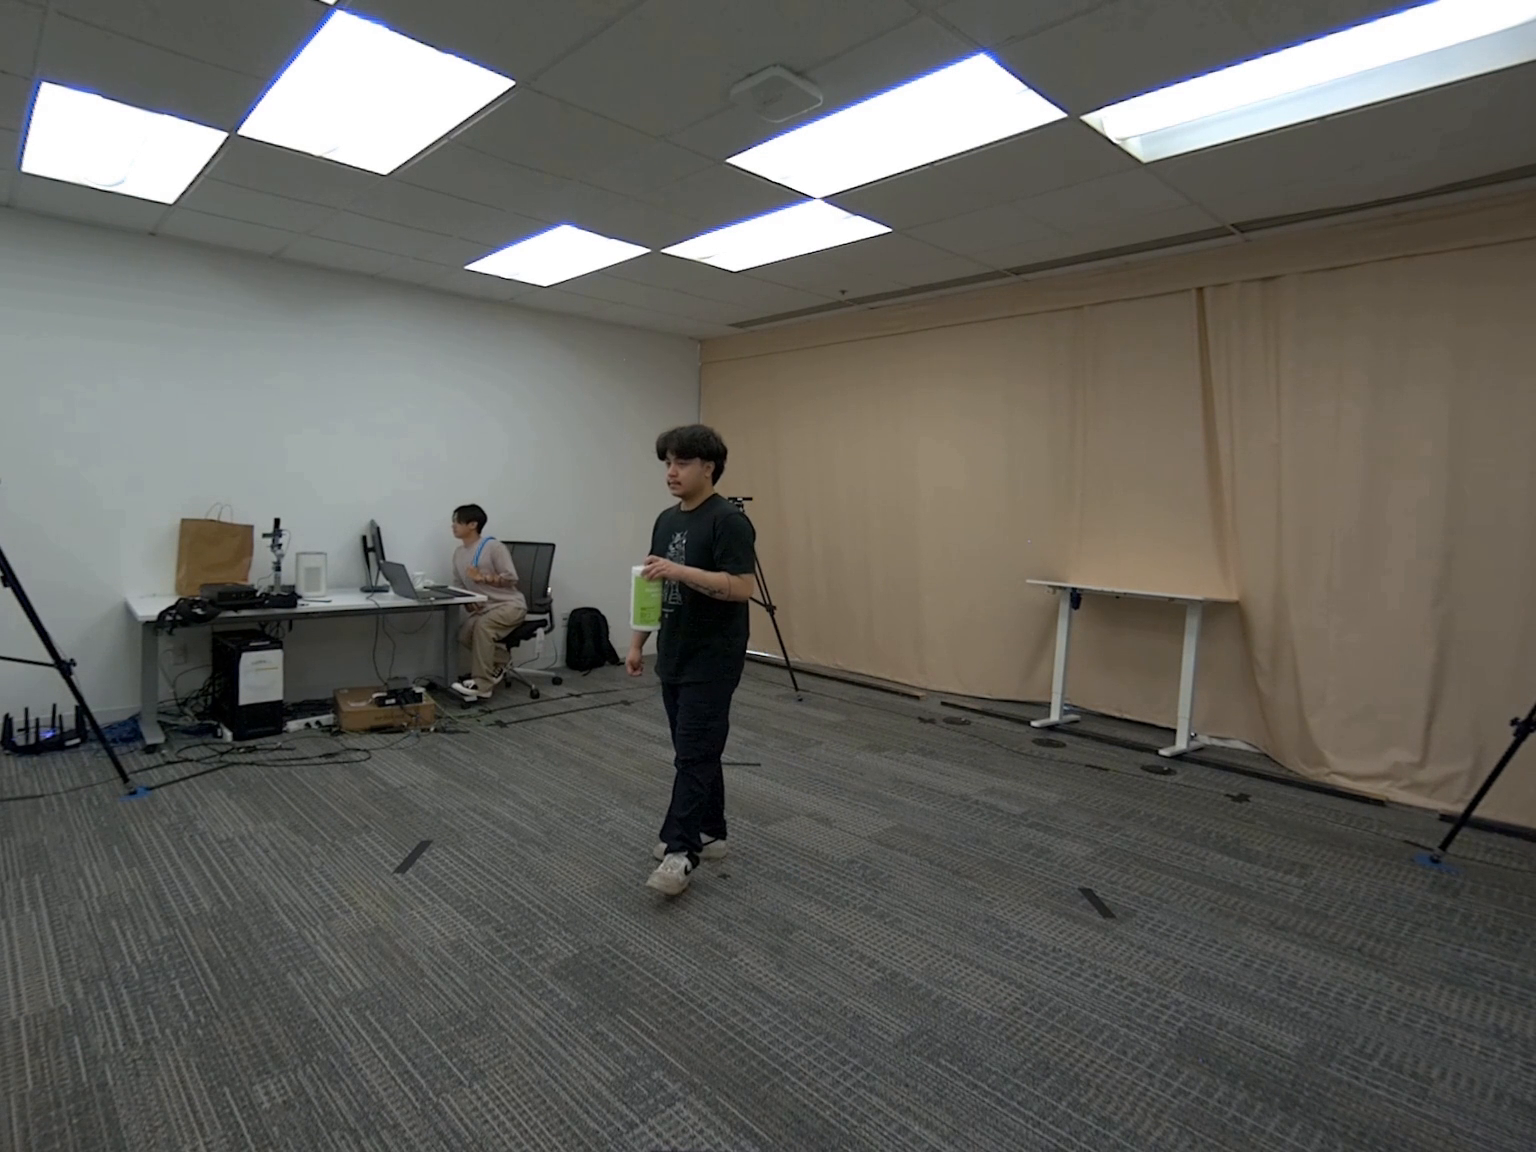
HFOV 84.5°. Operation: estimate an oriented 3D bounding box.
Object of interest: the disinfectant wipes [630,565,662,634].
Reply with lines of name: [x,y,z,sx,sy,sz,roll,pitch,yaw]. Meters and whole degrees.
disinfectant wipes: [-0.439,0.082,2.892,0.118,0.217,0.118,2,5,-2]
